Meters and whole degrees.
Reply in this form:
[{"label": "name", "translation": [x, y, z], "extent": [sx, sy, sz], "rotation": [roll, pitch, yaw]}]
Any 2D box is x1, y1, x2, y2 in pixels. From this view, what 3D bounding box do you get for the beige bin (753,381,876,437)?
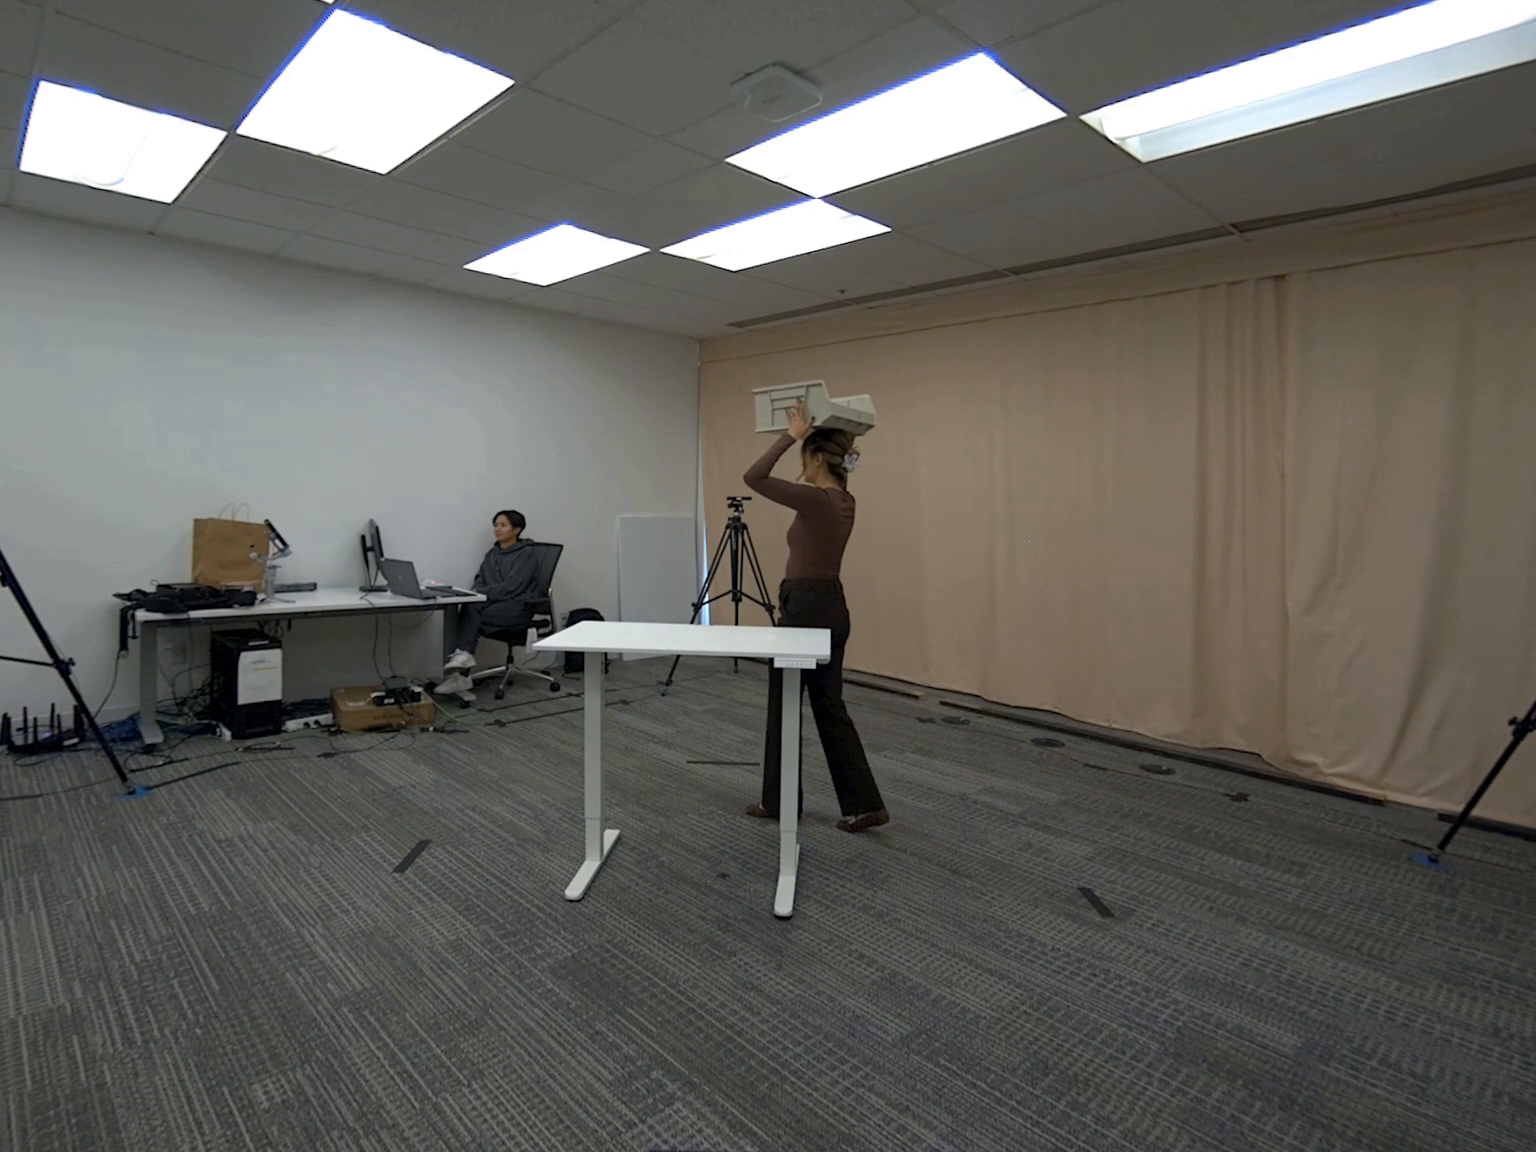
[{"label": "beige bin", "translation": [0.196, -0.700, 3.606], "extent": [0.385, 0.189, 0.413], "rotation": [-1, 2, 33]}]
